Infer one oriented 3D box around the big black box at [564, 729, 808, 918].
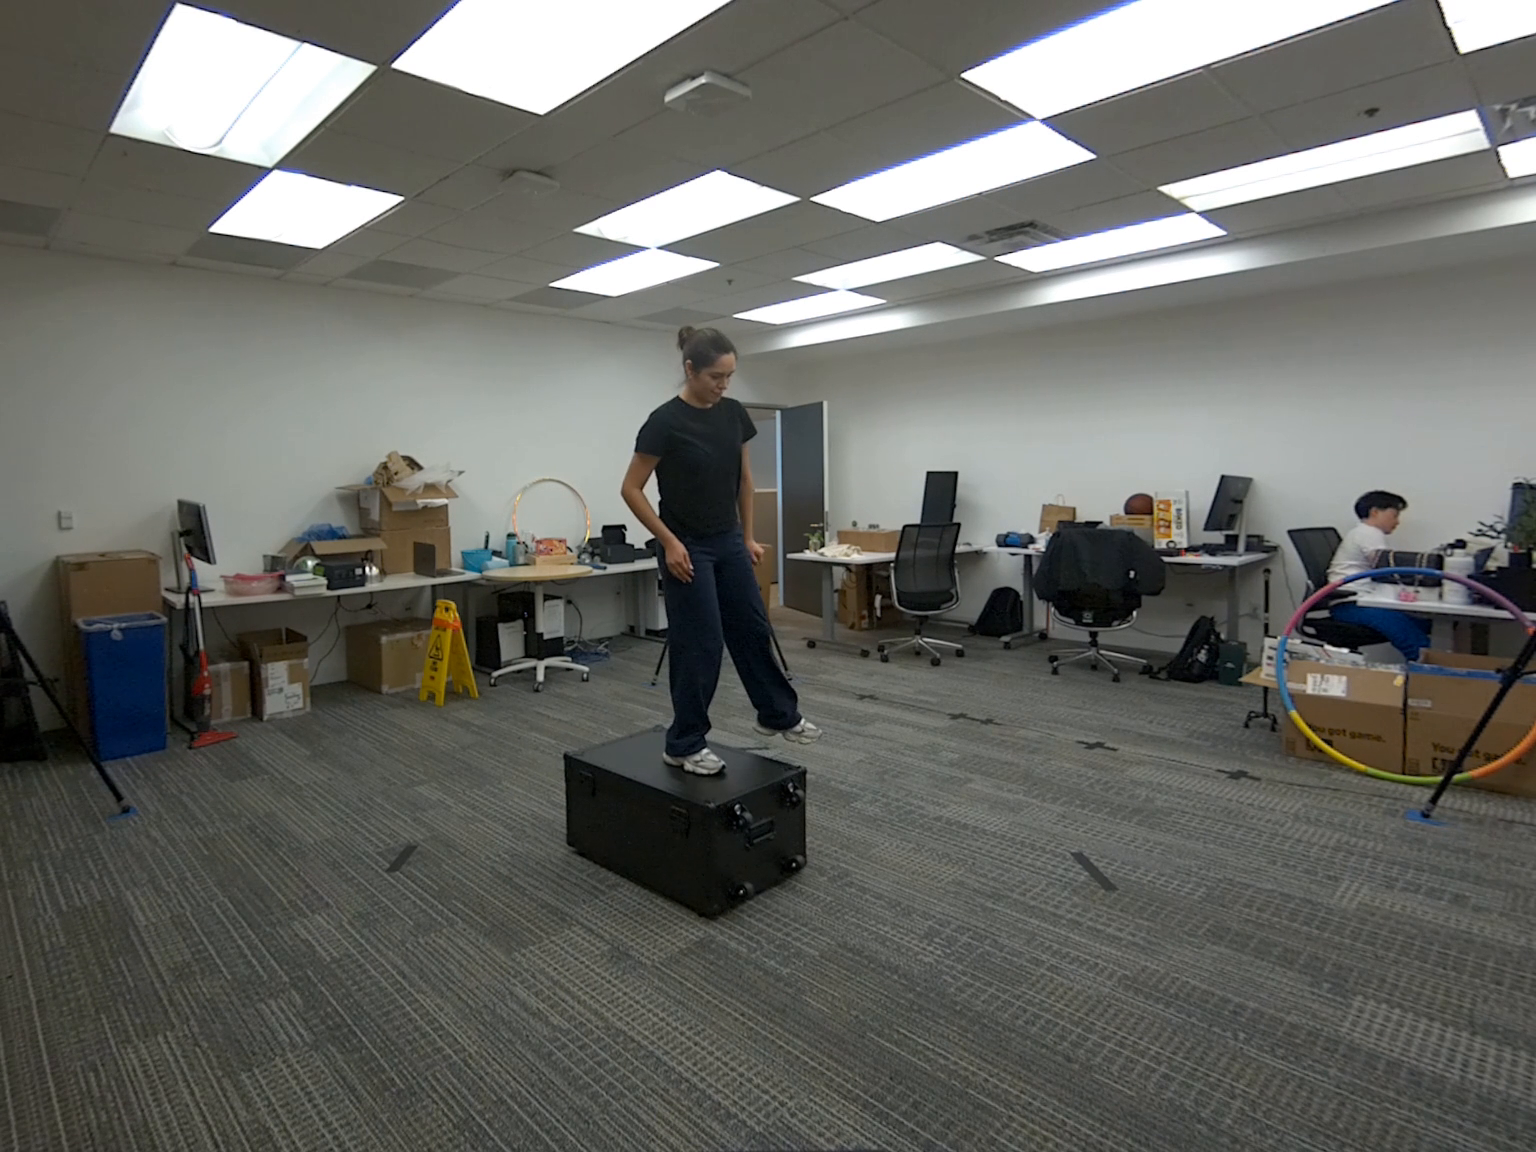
[{"bbox_3d":[-0.293,0.860,3.107,0.888,0.394,0.508,4,7,42],"label":"big black box"}]
